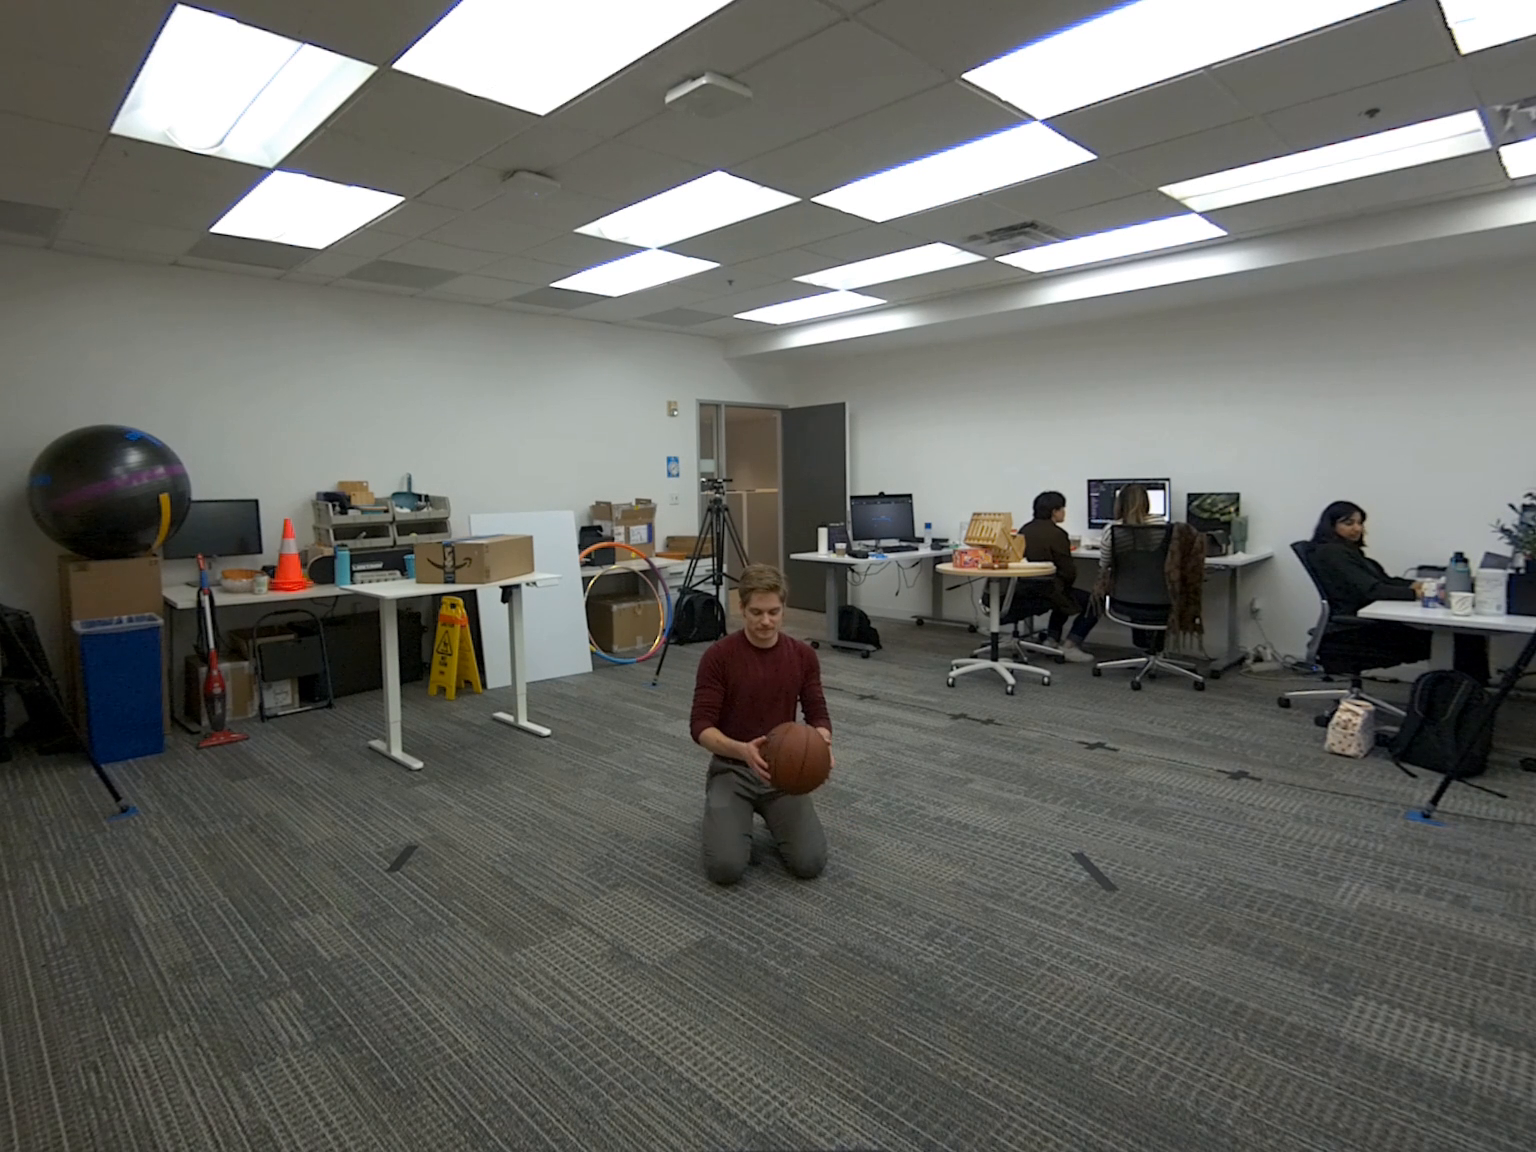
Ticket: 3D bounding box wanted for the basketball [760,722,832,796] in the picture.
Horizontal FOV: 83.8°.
[{"bbox_3d":[0.095,0.619,2.878,0.236,0.235,0.237,-1,5,-2],"label":"basketball"}]
